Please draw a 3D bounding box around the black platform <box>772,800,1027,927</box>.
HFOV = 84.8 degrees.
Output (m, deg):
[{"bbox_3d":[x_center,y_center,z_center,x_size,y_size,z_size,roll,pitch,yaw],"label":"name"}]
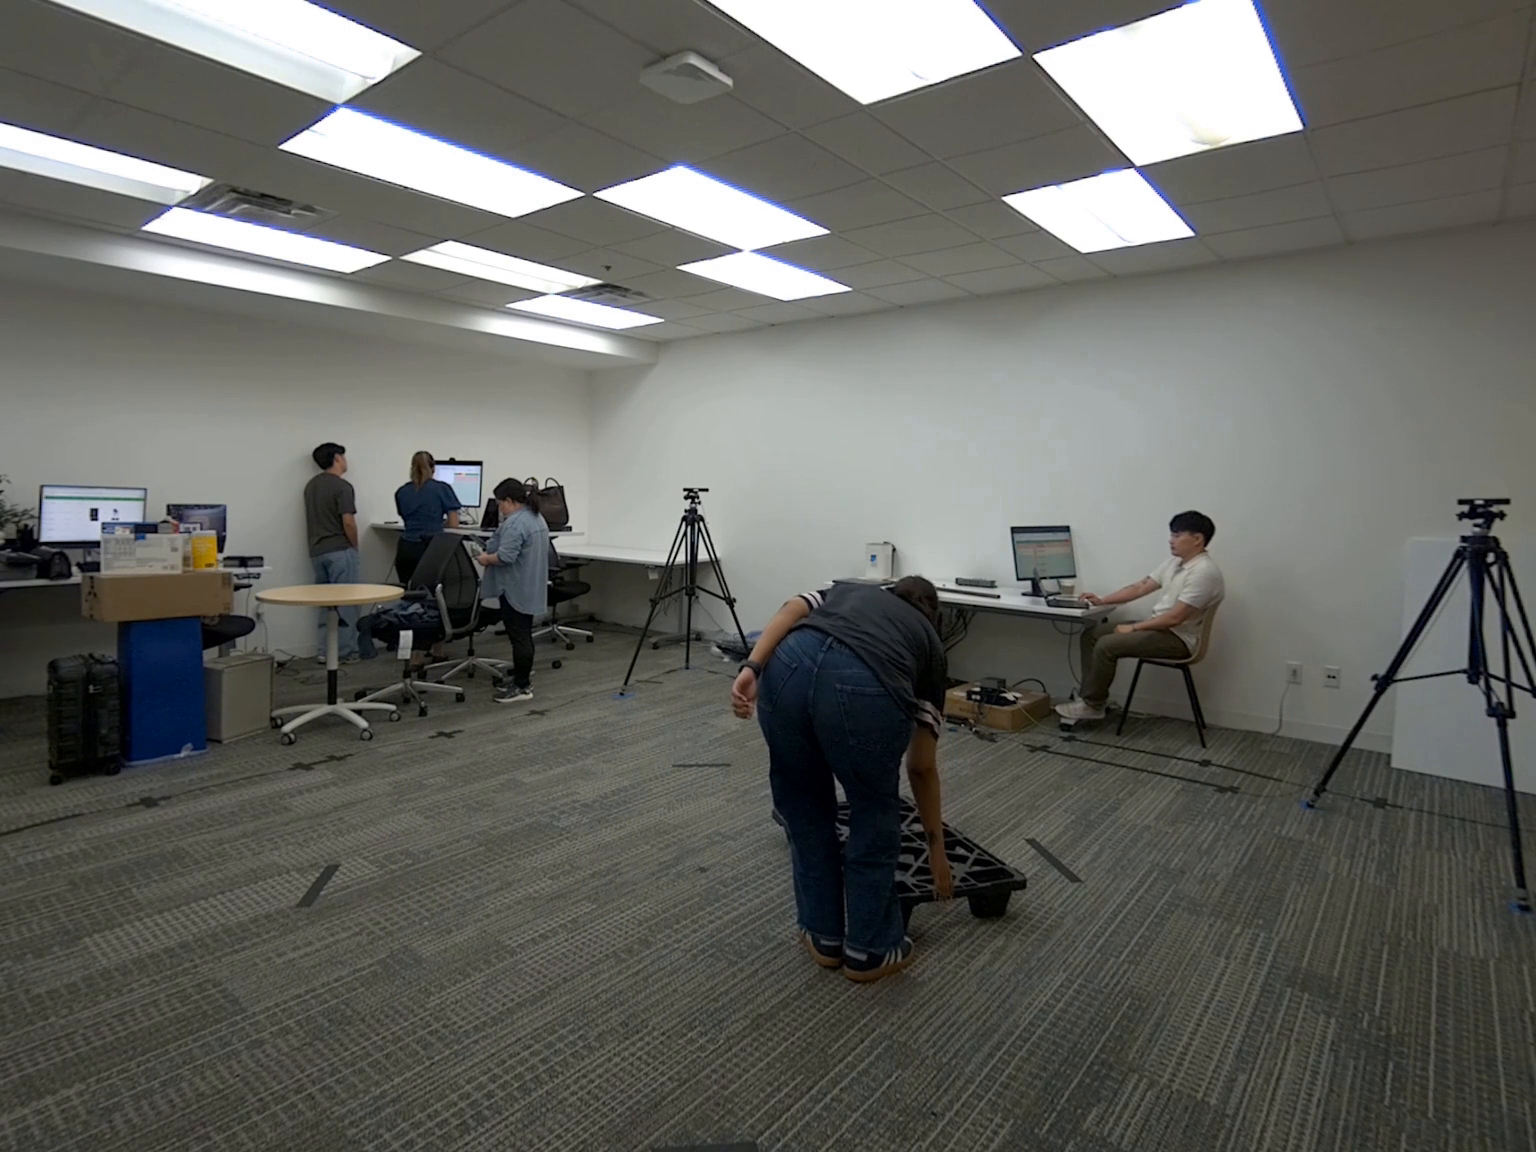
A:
[{"bbox_3d":[0.431,1.018,3.085,0.593,0.143,0.825,-1,6,-20],"label":"black platform"}]
